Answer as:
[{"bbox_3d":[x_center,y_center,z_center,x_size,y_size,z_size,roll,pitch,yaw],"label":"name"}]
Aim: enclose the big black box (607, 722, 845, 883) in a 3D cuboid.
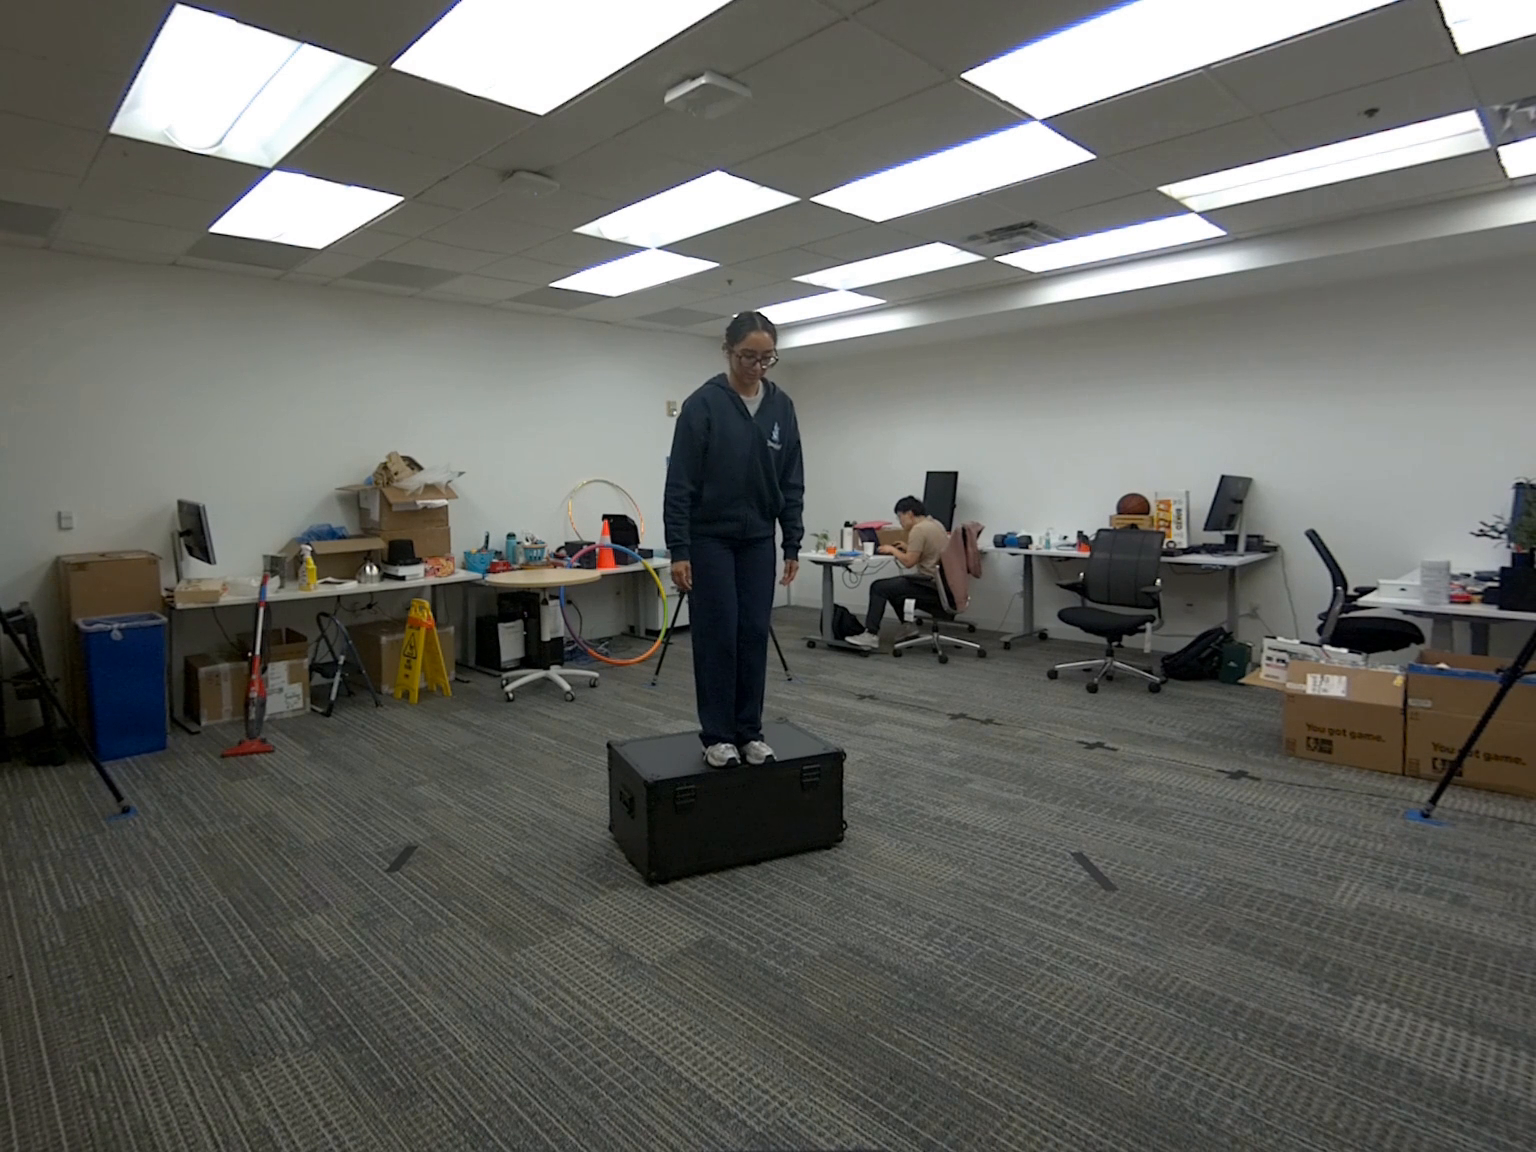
[{"bbox_3d":[-0.146,0.842,3.308,0.843,0.519,0.407,-4,6,-27],"label":"big black box"}]
